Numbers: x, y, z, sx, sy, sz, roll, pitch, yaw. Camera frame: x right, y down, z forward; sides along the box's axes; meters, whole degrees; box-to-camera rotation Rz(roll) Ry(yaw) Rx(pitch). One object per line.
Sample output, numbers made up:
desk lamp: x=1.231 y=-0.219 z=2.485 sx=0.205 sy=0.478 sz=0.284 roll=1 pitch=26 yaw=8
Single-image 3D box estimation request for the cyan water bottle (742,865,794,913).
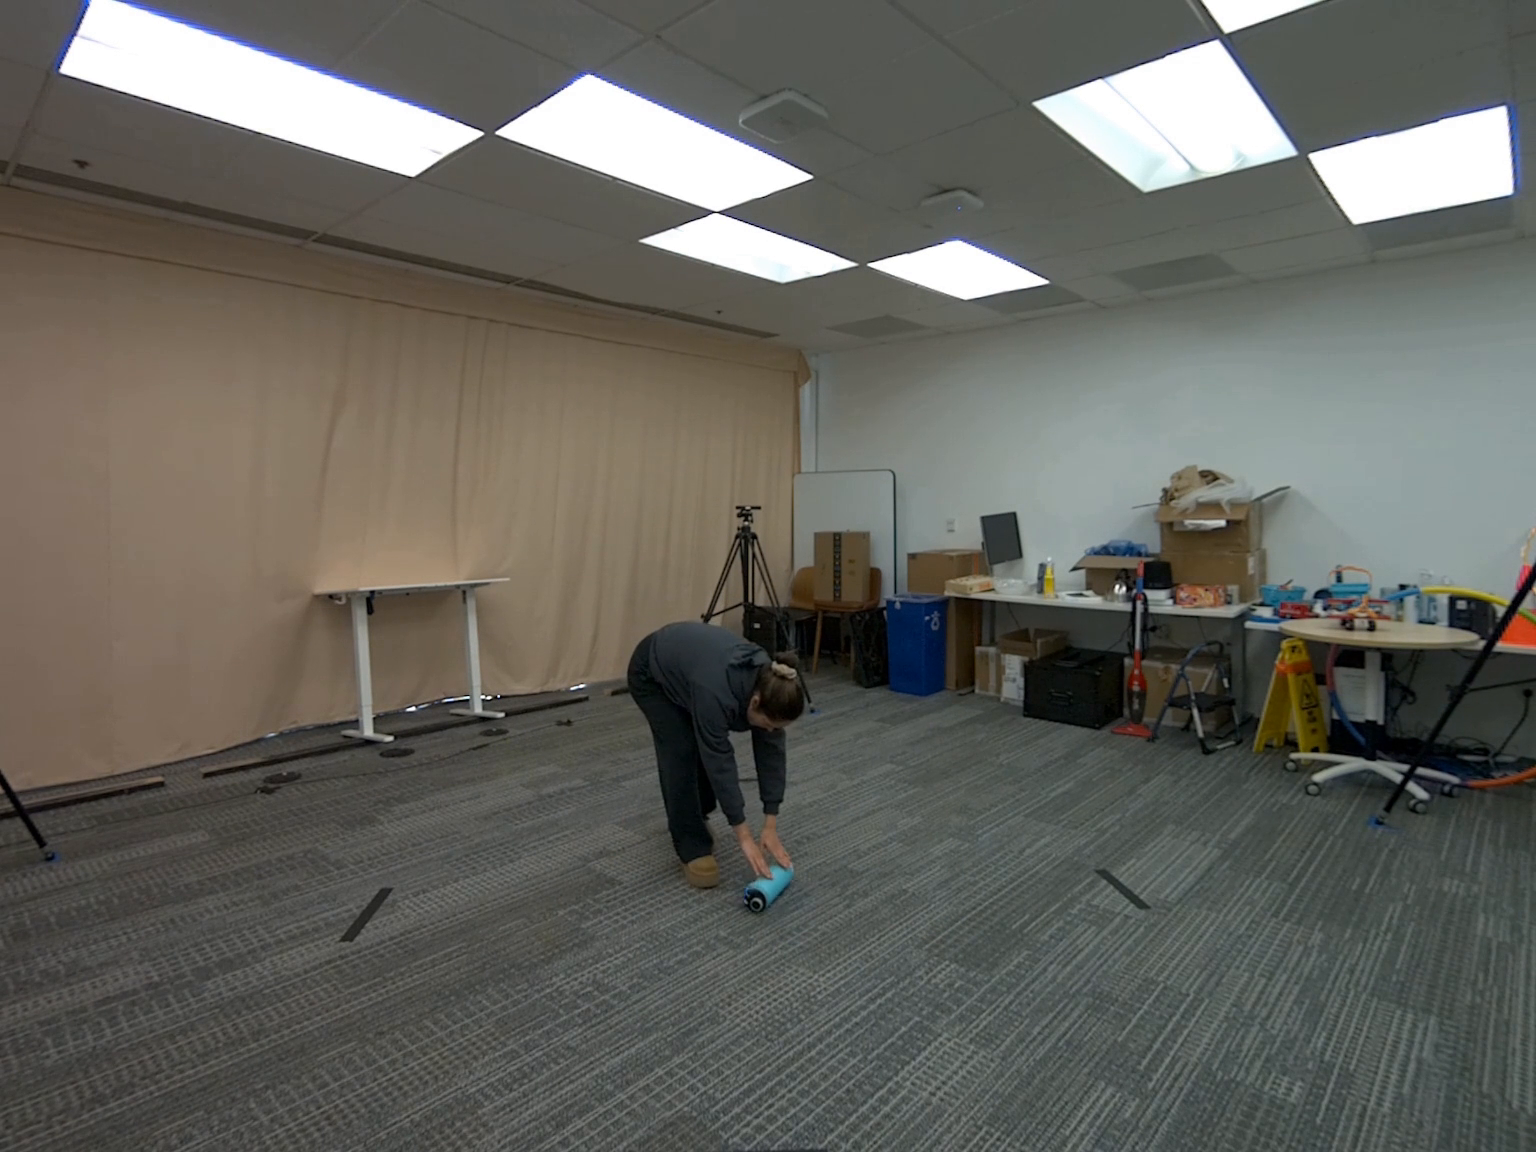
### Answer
cyan water bottle: x=0.024 y=1.095 z=2.982 sx=0.095 sy=0.092 sz=0.277 roll=1 pitch=7 yaw=24
